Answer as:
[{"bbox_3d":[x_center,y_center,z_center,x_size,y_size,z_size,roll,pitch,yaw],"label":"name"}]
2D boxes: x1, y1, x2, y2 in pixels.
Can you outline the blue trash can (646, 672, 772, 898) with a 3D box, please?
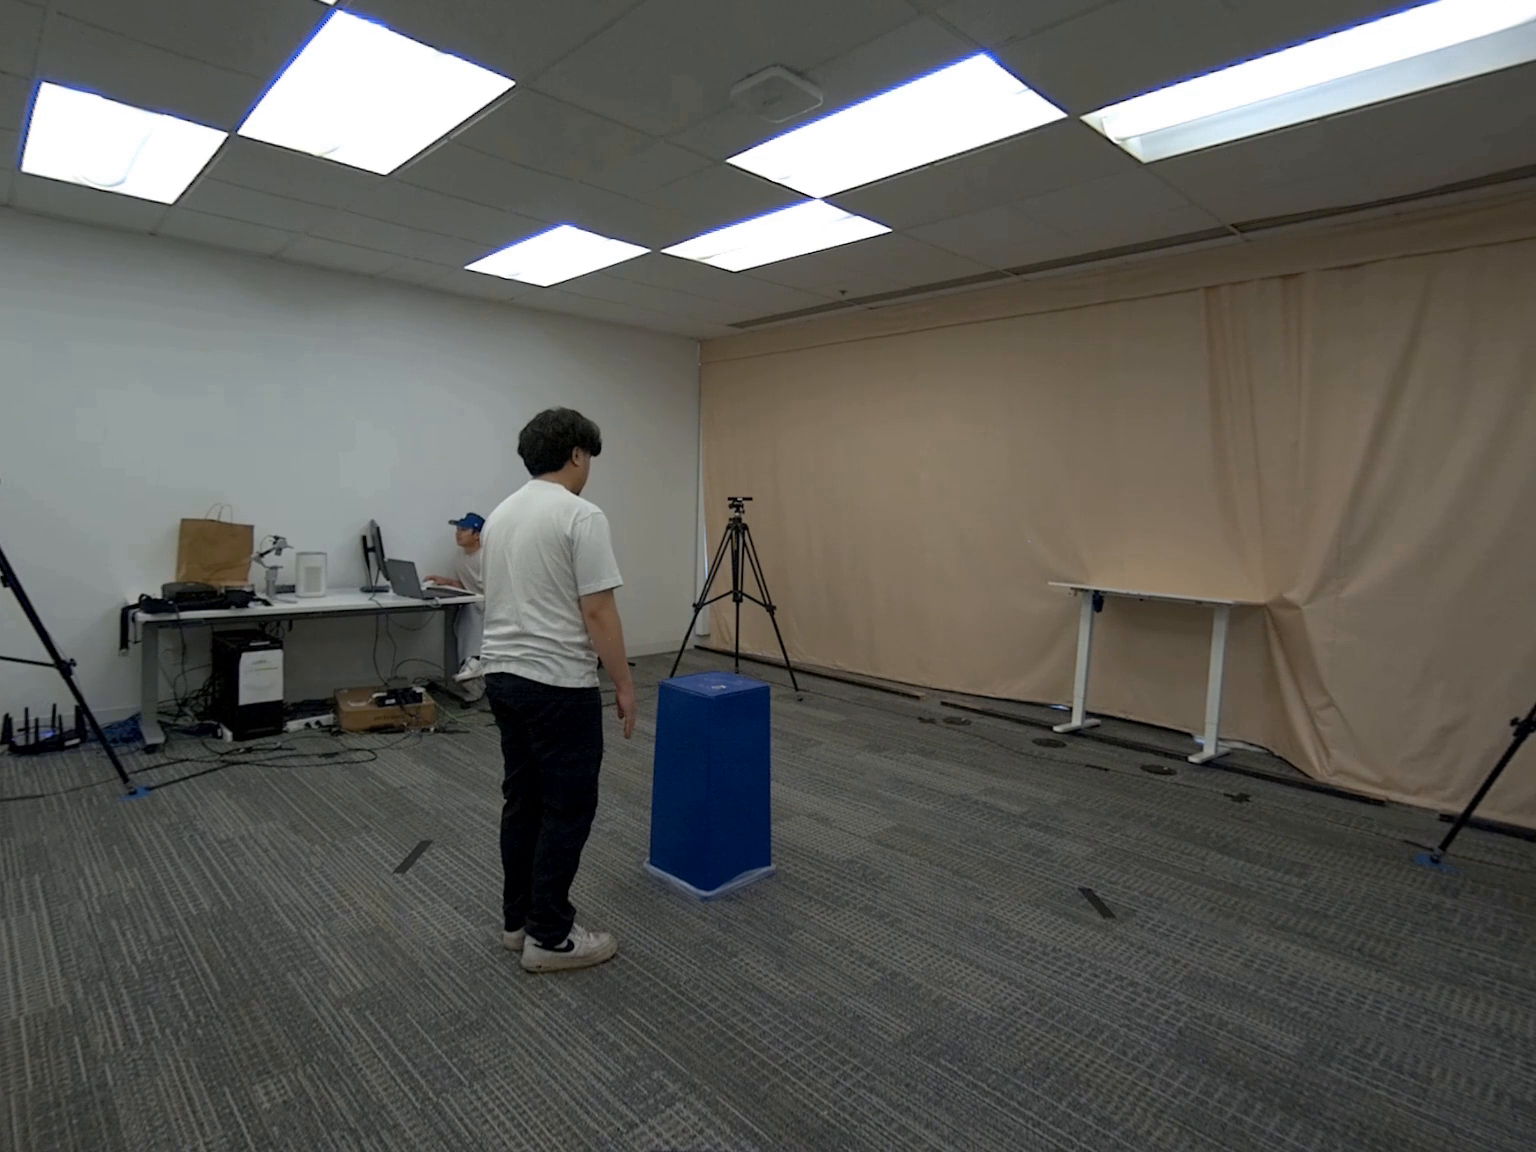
[{"bbox_3d":[-0.211,0.750,3.127,0.369,0.711,0.384,-2,6,-44],"label":"blue trash can"}]
